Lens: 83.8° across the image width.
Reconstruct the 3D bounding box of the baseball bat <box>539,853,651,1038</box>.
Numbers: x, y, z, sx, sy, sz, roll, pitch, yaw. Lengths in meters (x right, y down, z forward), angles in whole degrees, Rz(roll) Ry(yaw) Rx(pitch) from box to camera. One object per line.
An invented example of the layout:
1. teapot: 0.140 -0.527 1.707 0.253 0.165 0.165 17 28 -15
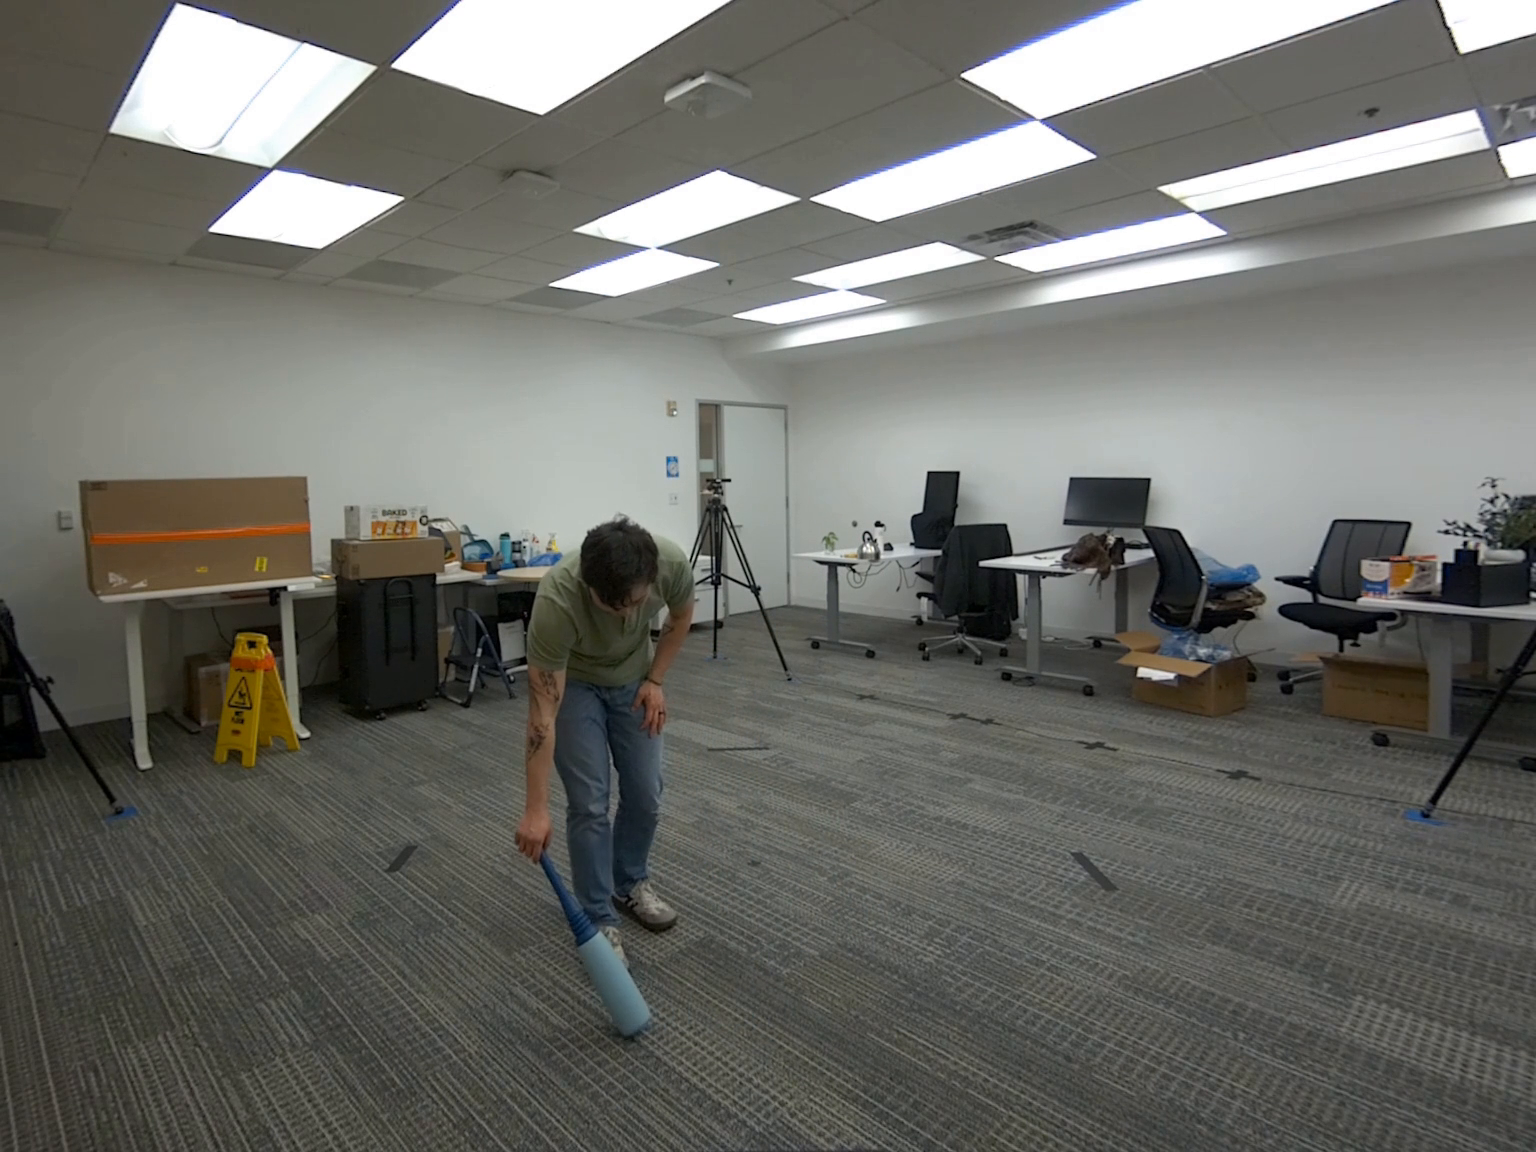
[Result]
1. baseball bat: -0.472 0.925 2.206 0.089 0.550 0.088 -32 -9 -7
